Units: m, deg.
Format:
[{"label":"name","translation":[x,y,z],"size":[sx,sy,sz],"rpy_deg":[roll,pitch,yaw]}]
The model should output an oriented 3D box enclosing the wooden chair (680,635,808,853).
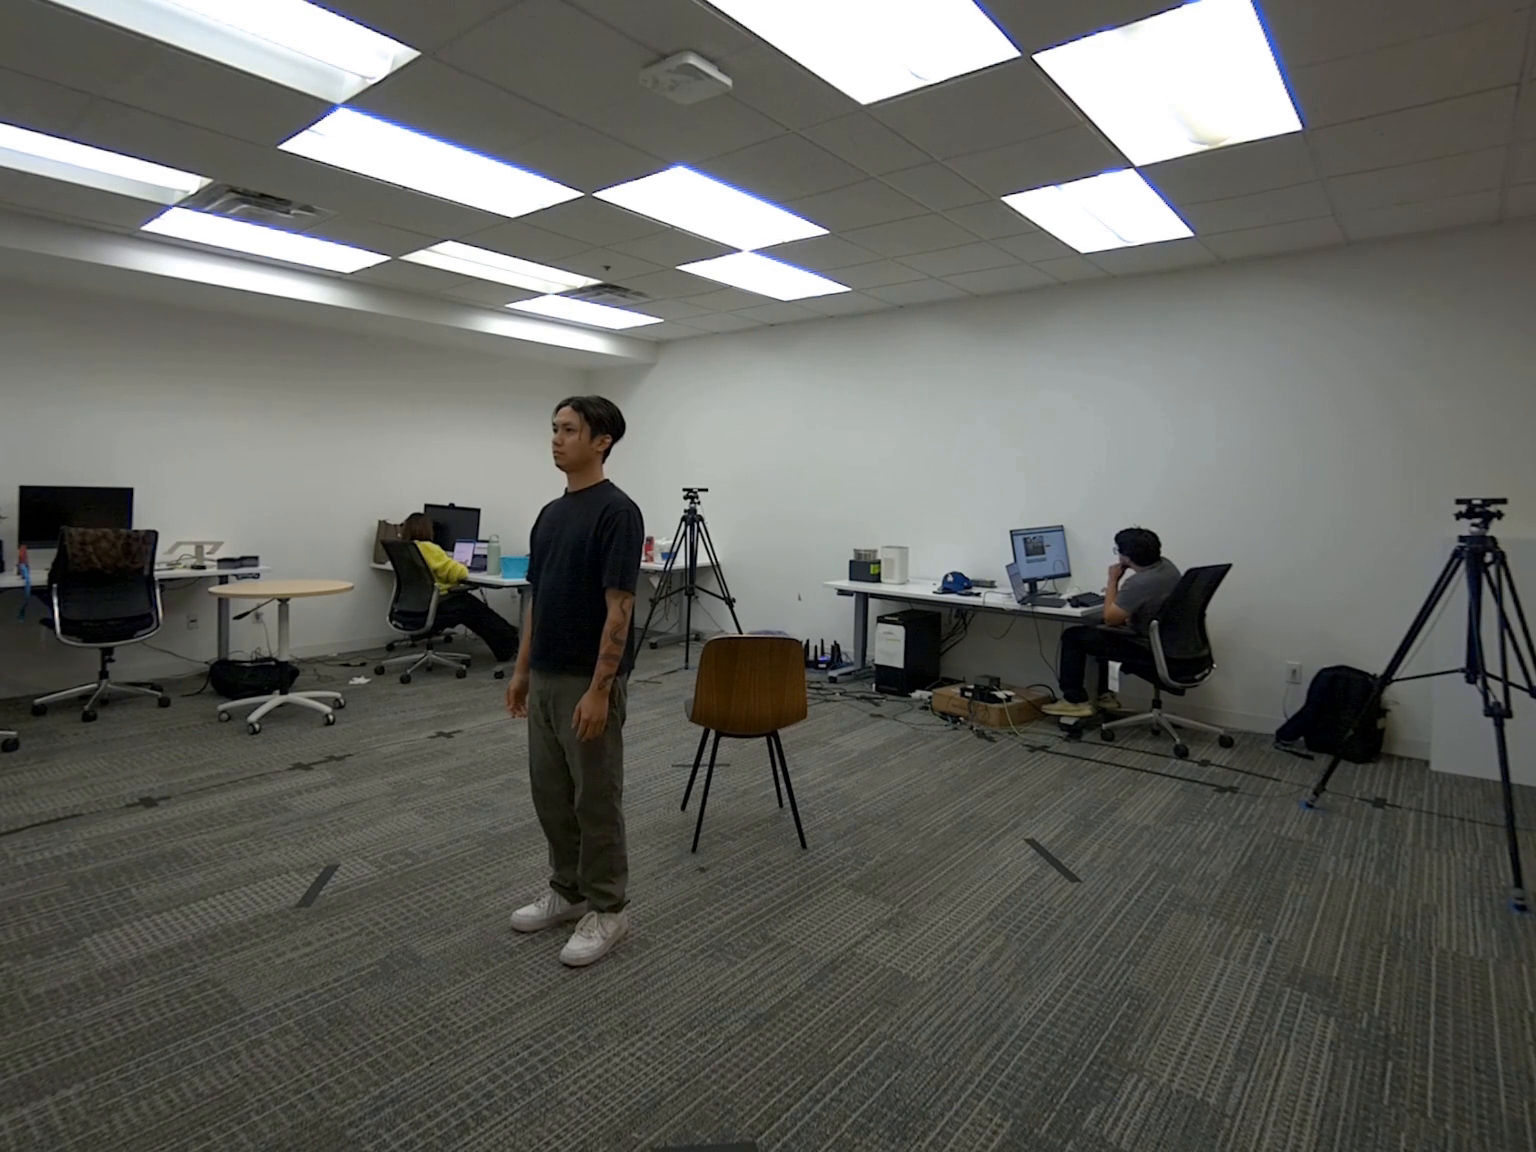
[{"label":"wooden chair","translation":[-0.122,0.608,3.476],"size":[0.473,0.872,0.532],"rpy_deg":[0,7,-10]}]
